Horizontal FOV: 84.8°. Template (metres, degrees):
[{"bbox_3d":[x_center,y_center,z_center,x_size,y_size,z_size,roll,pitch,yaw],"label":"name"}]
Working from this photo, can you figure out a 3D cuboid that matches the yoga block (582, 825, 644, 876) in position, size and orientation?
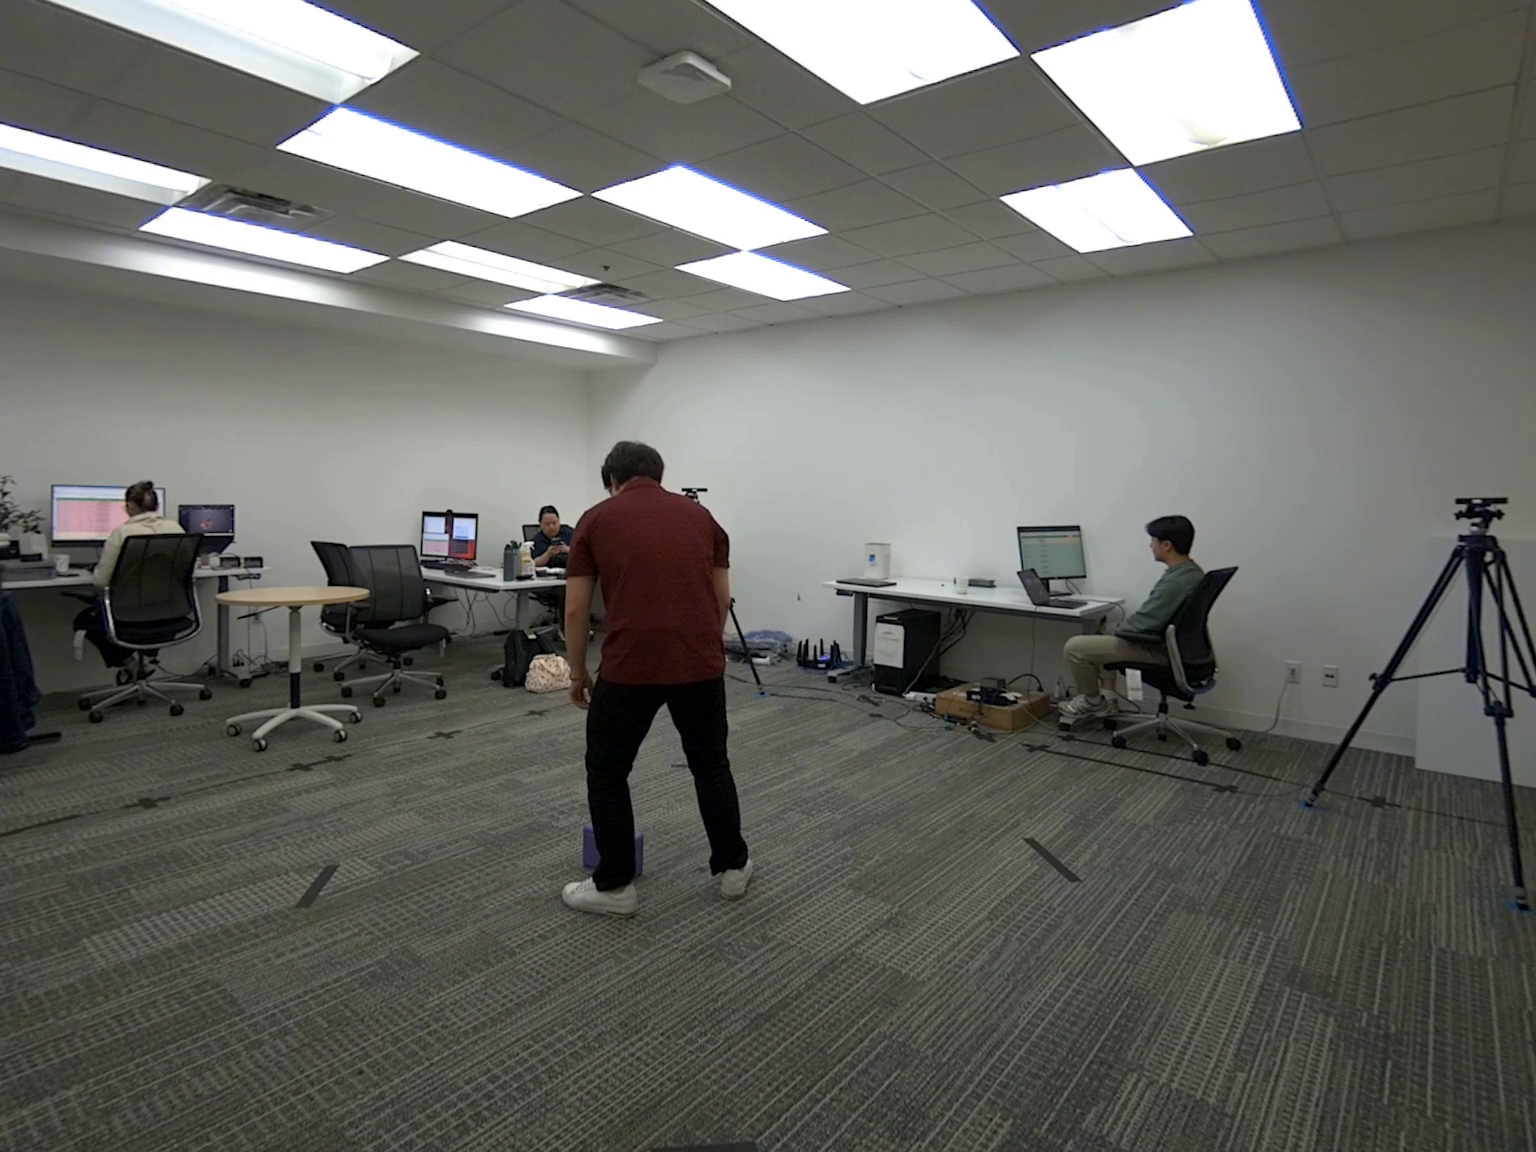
[{"bbox_3d":[-0.574,0.987,3.088,0.236,0.149,0.074,3,3,28],"label":"yoga block"}]
